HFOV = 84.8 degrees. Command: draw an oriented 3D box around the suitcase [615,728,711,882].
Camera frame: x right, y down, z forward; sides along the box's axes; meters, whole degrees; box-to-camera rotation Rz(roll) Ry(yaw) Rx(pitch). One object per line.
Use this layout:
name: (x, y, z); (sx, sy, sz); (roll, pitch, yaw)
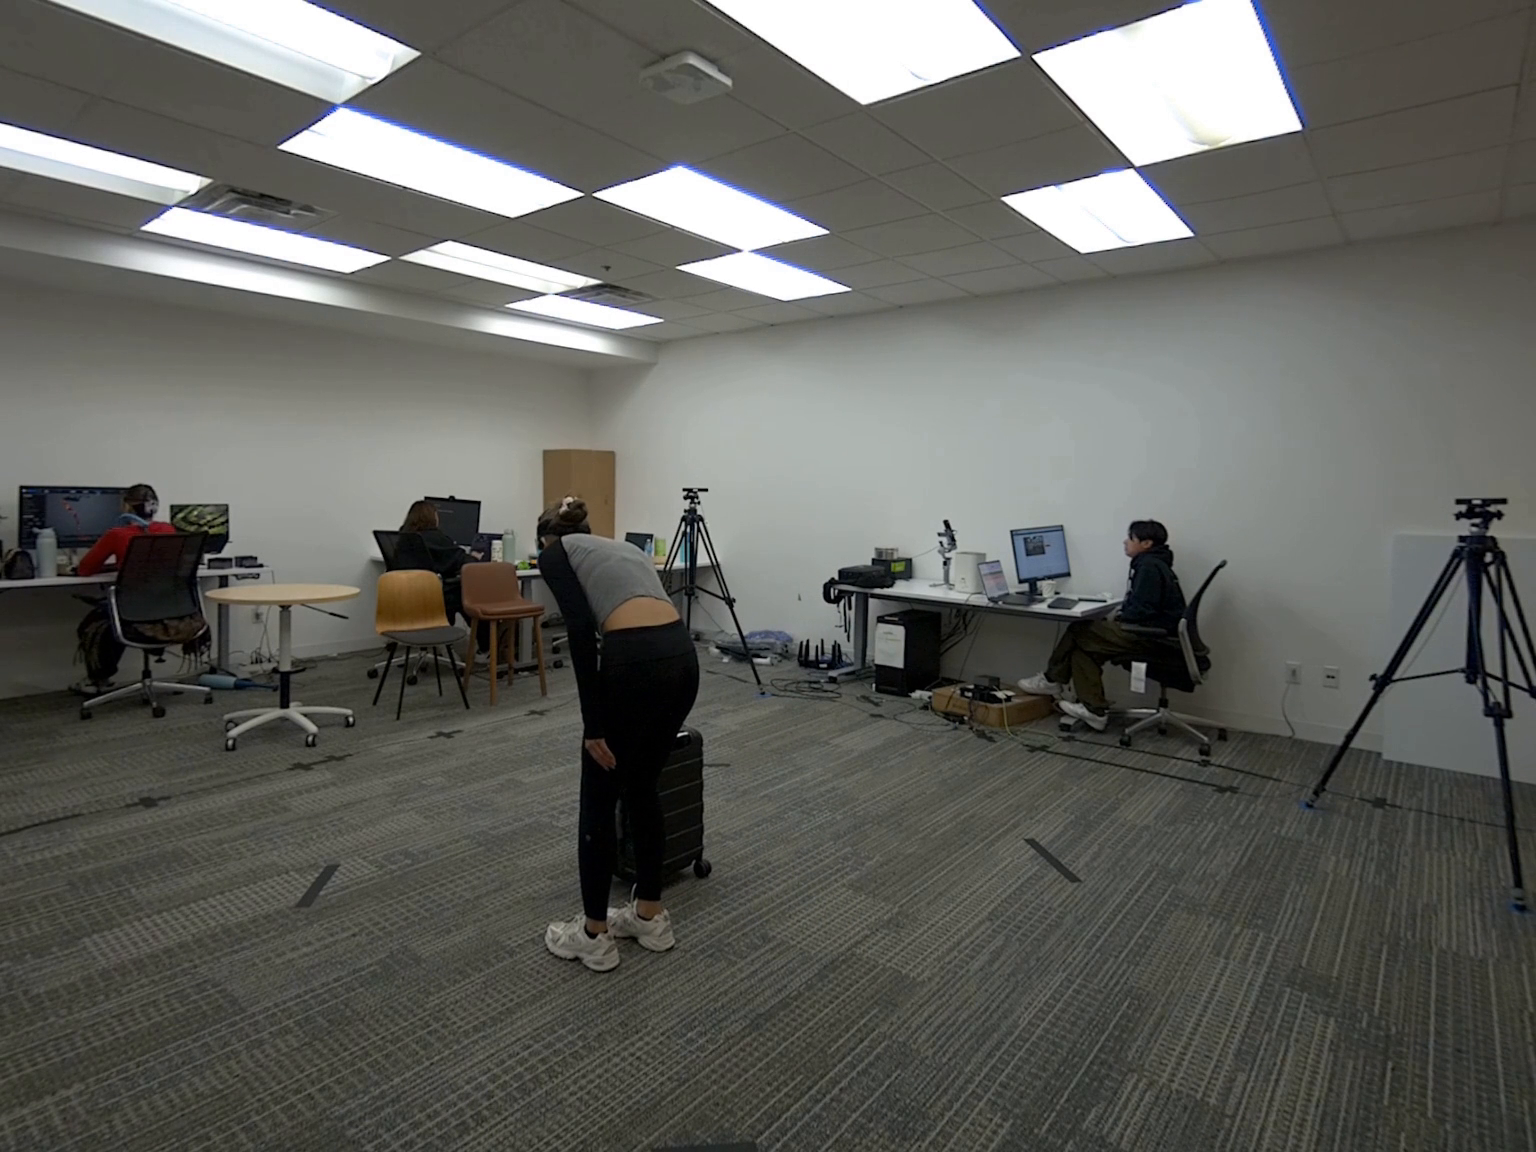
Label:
suitcase: (-0.426, 0.799, 3.023); (0.256, 0.548, 0.364); (0, 3, 42)
